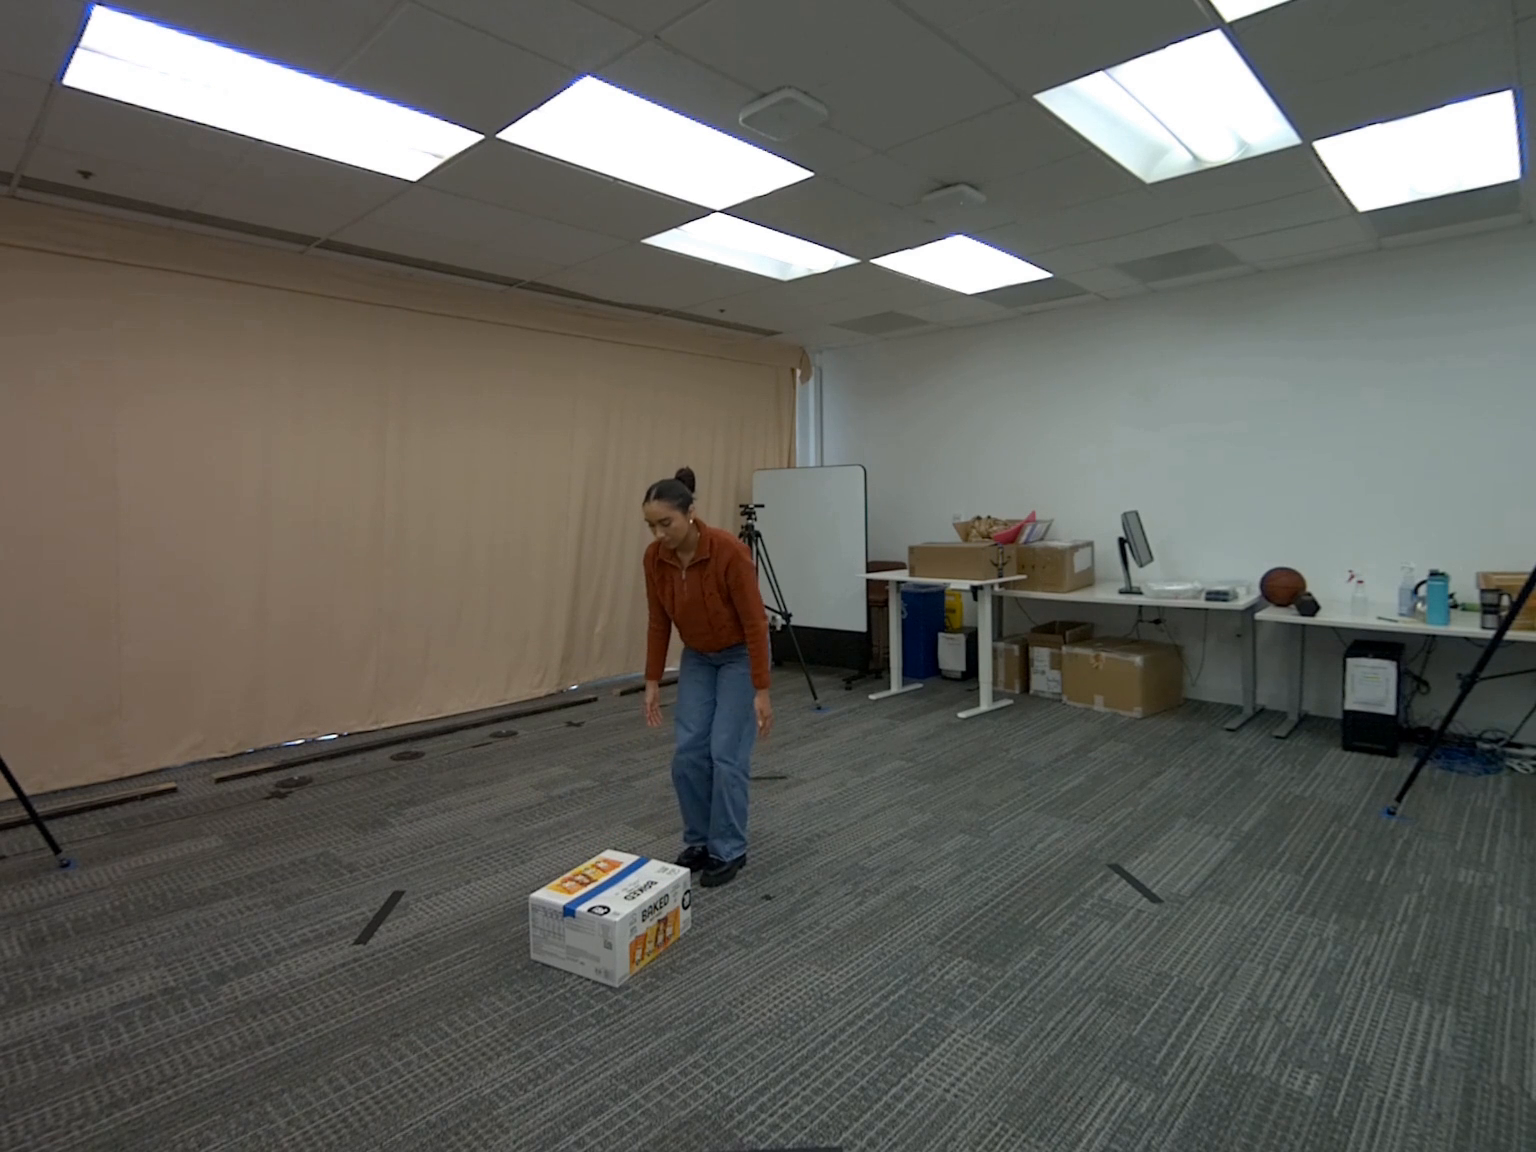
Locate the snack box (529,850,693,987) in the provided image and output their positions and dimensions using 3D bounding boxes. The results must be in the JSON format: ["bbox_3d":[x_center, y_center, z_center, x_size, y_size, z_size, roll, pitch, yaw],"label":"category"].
[{"bbox_3d":[-0.495,1.070,2.685,0.350,0.205,0.395,1,5,29],"label":"snack box"}]
